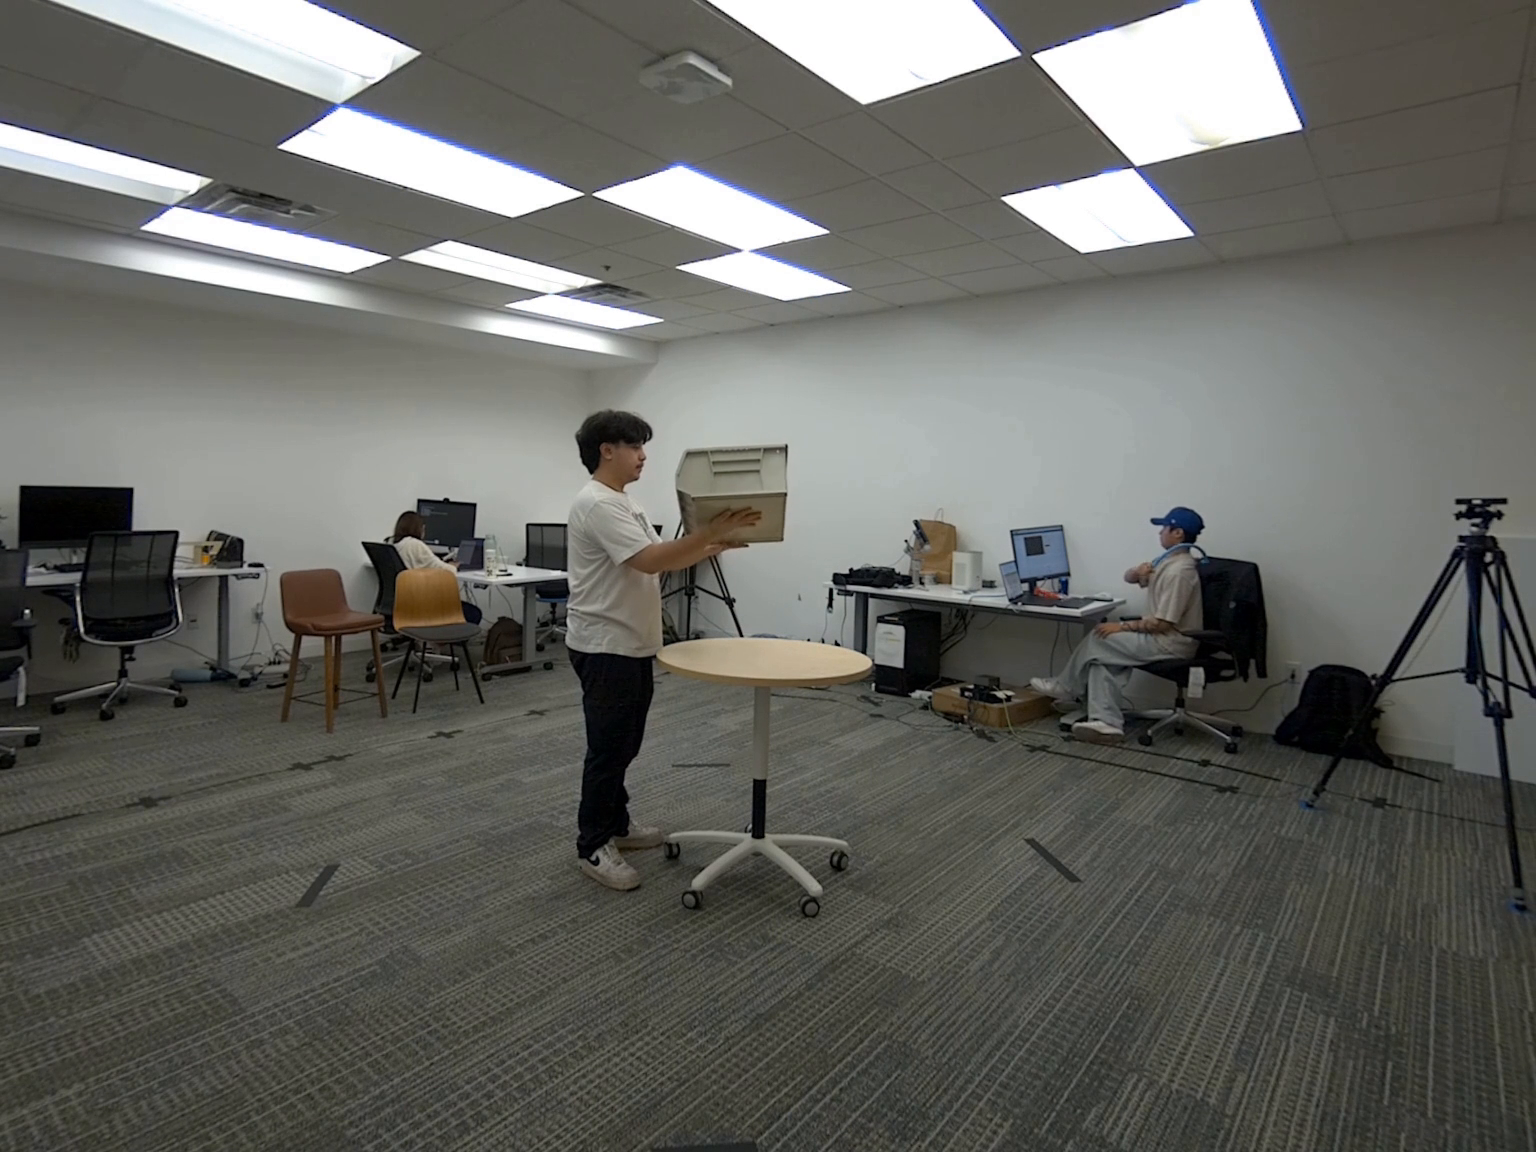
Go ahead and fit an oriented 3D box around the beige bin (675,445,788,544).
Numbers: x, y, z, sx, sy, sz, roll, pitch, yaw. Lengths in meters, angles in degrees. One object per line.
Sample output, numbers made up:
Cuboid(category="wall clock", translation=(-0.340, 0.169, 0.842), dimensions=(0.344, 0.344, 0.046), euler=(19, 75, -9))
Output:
Cuboid(category="beige bin", translation=(-0.140, -0.280, 2.982), dimensions=(0.377, 0.193, 0.414), euler=(-1, -22, -1))
